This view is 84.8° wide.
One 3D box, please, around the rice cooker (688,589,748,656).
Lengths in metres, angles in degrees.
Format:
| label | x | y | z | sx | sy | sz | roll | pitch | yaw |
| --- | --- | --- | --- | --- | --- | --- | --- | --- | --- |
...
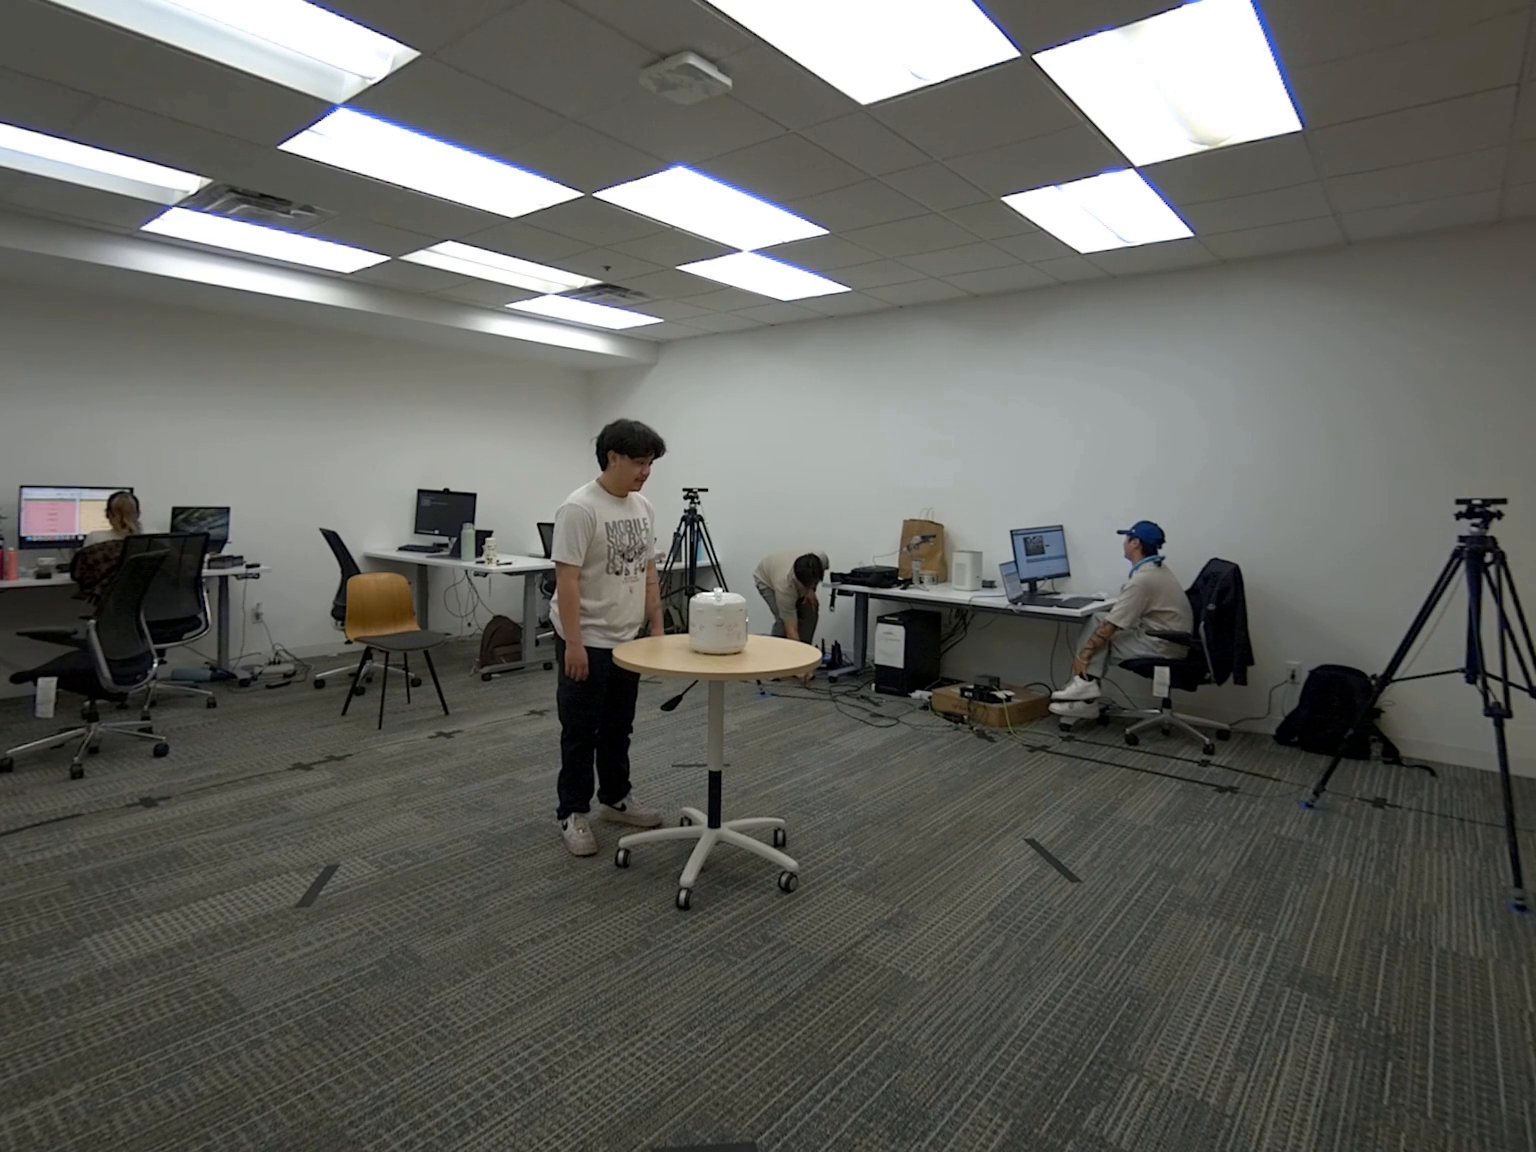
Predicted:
| label | x | y | z | sx | sy | sz | roll | pitch | yaw |
| --- | --- | --- | --- | --- | --- | --- | --- | --- | --- |
| rice cooker | -0.189 | 0.154 | 3.116 | 0.217 | 0.232 | 0.222 | 1 | 5 | -3 |
